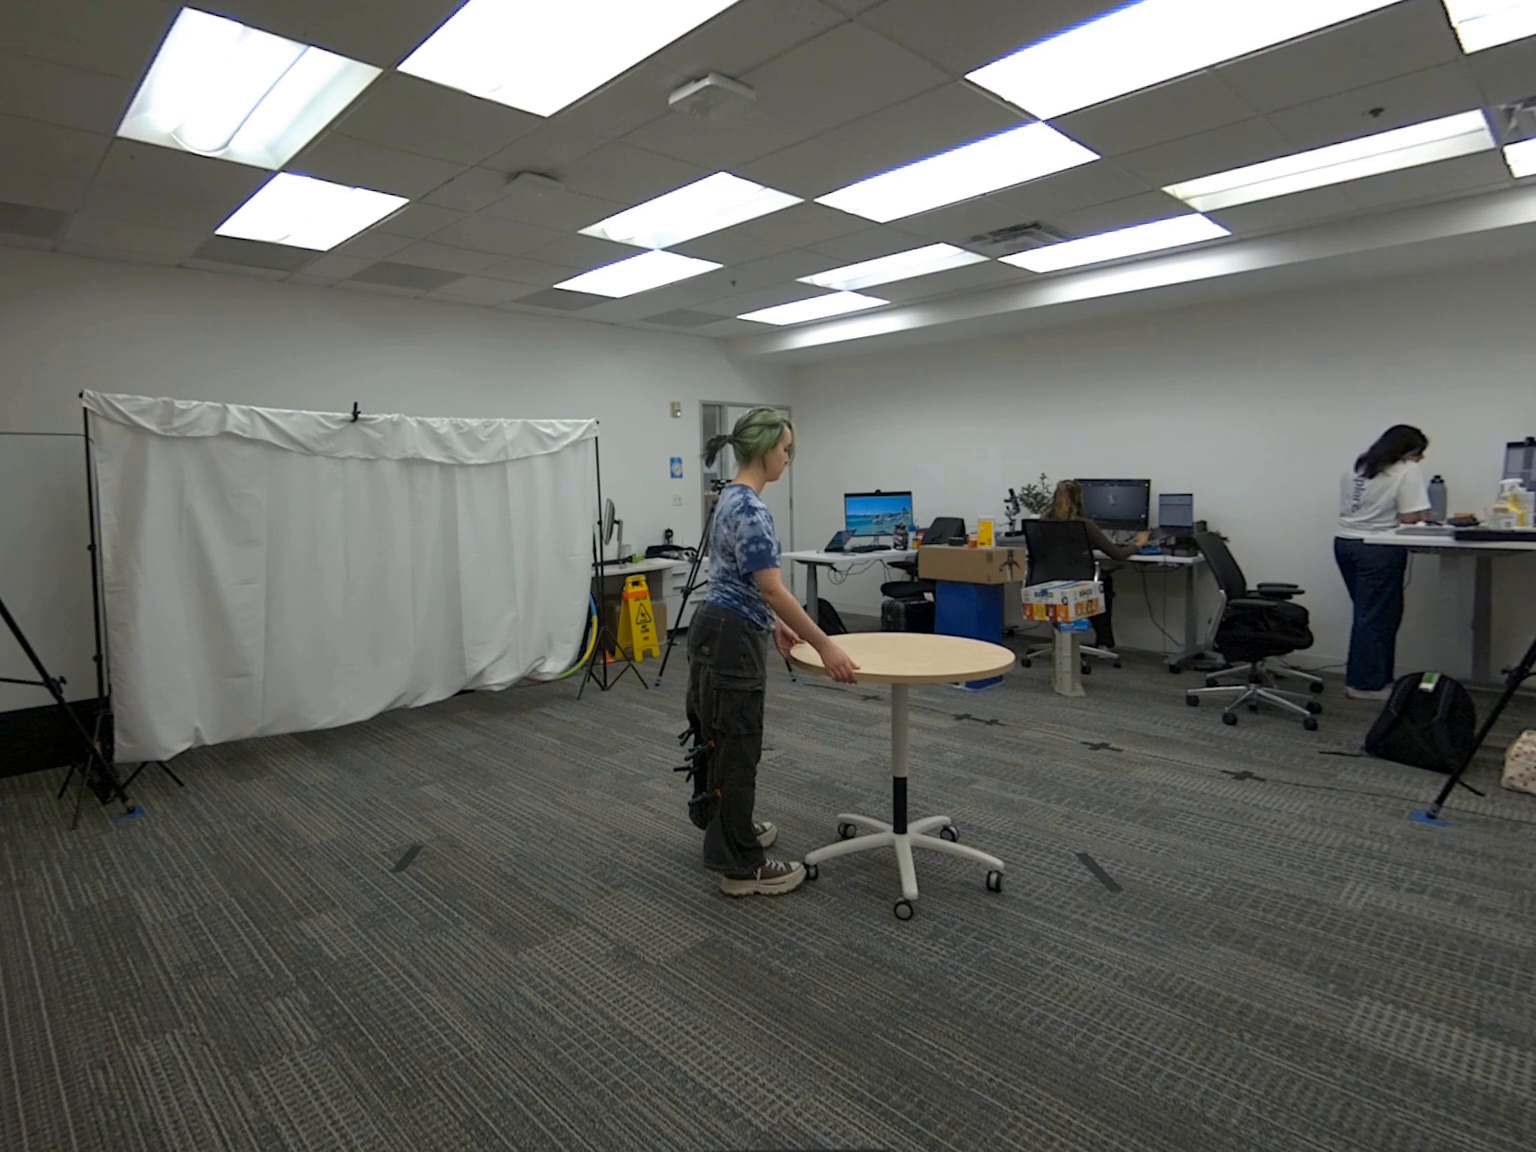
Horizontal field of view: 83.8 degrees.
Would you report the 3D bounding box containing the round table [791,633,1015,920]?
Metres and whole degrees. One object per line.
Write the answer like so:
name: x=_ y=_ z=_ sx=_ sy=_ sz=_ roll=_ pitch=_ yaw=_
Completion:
round table: x=0.463 y=0.657 z=3.013 sx=0.763 sy=0.791 sz=0.768 roll=-1 pitch=5 yaw=-2
